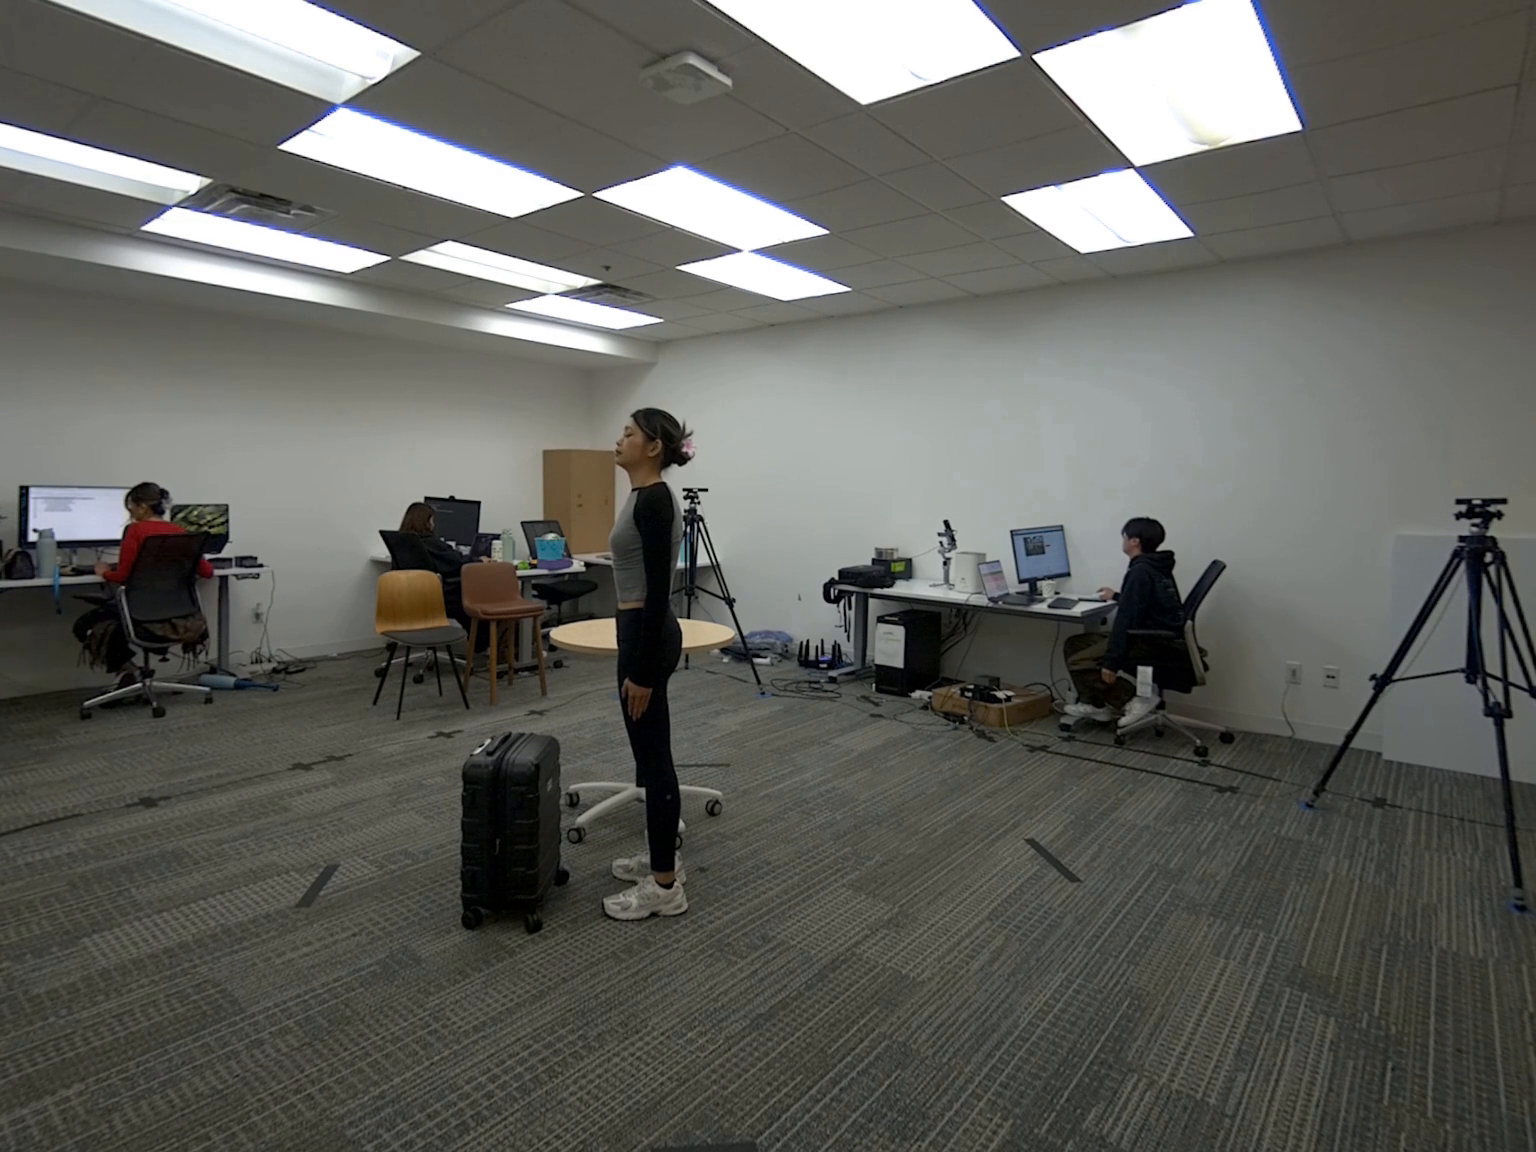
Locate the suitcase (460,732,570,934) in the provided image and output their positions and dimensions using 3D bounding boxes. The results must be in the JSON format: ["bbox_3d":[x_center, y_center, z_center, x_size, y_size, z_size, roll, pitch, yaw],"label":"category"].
[{"bbox_3d":[-0.852,0.814,2.816,0.249,0.548,0.376,0,4,1],"label":"suitcase"}]
